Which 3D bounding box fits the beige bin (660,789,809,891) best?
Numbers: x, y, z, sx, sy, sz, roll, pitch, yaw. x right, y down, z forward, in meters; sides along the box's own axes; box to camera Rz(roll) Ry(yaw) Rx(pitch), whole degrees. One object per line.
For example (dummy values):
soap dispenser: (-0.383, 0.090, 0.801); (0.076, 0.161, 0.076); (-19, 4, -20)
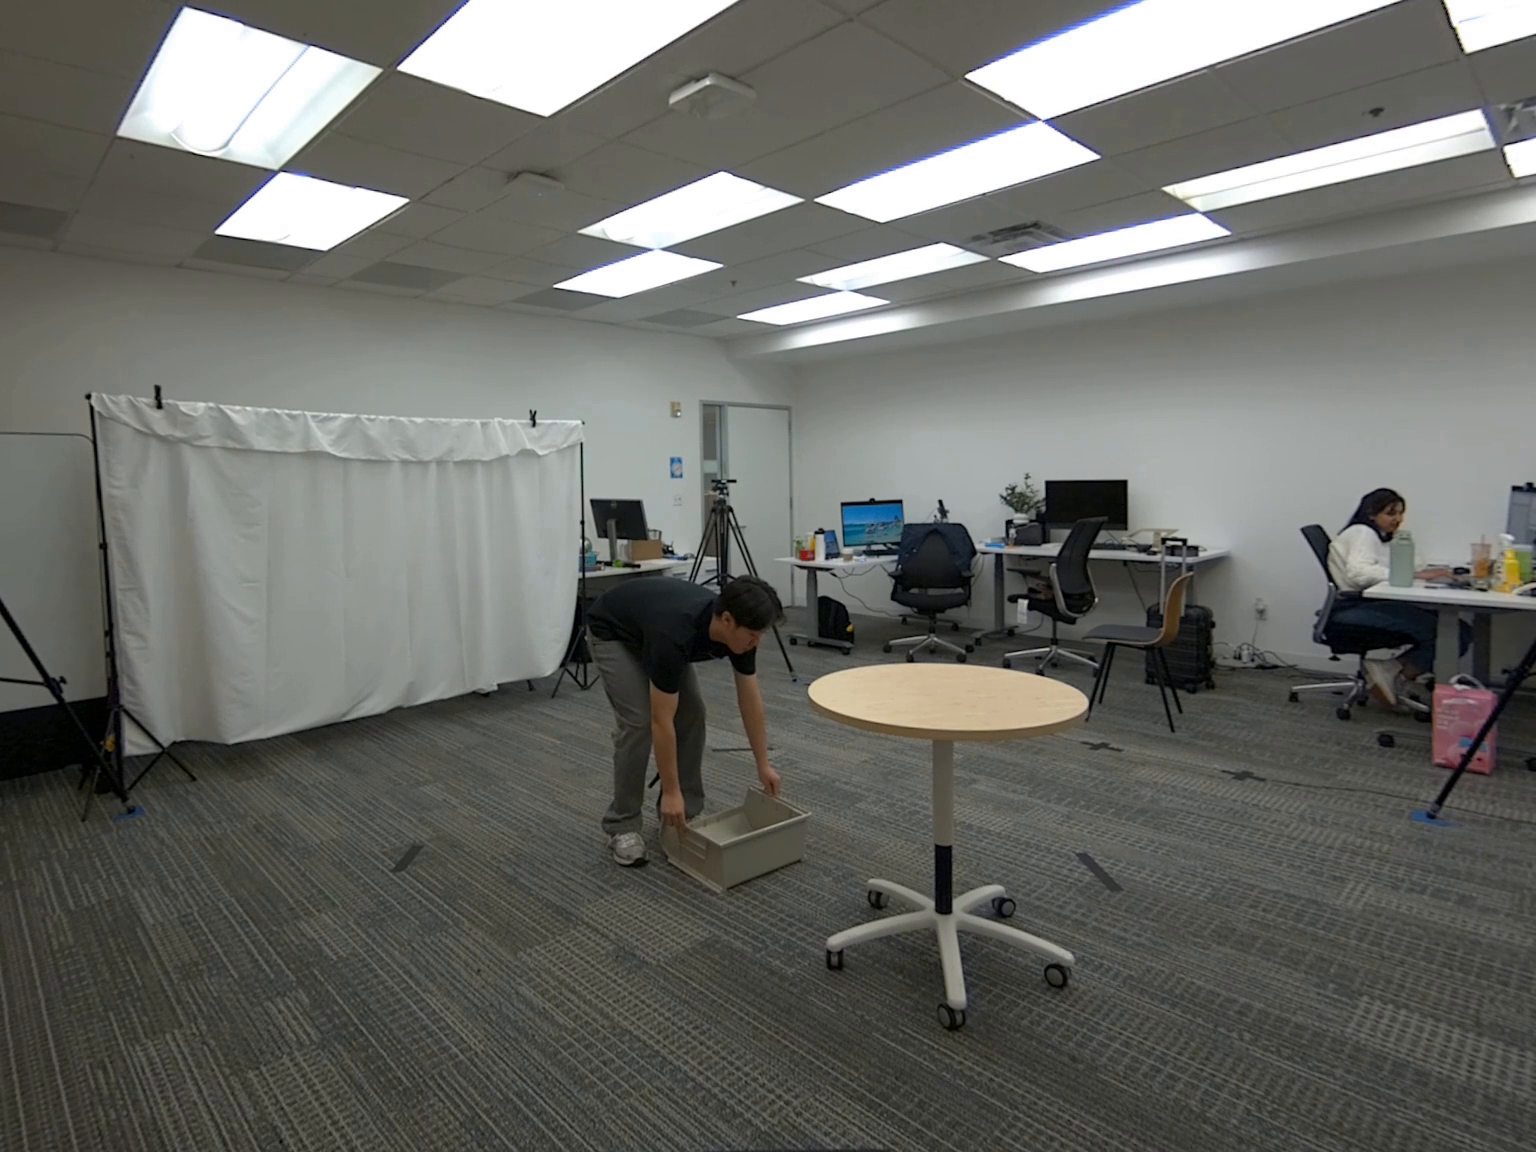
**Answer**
beige bin: (-0.124, 0.945, 3.140); (0.411, 0.188, 0.390); (-6, 11, -40)
